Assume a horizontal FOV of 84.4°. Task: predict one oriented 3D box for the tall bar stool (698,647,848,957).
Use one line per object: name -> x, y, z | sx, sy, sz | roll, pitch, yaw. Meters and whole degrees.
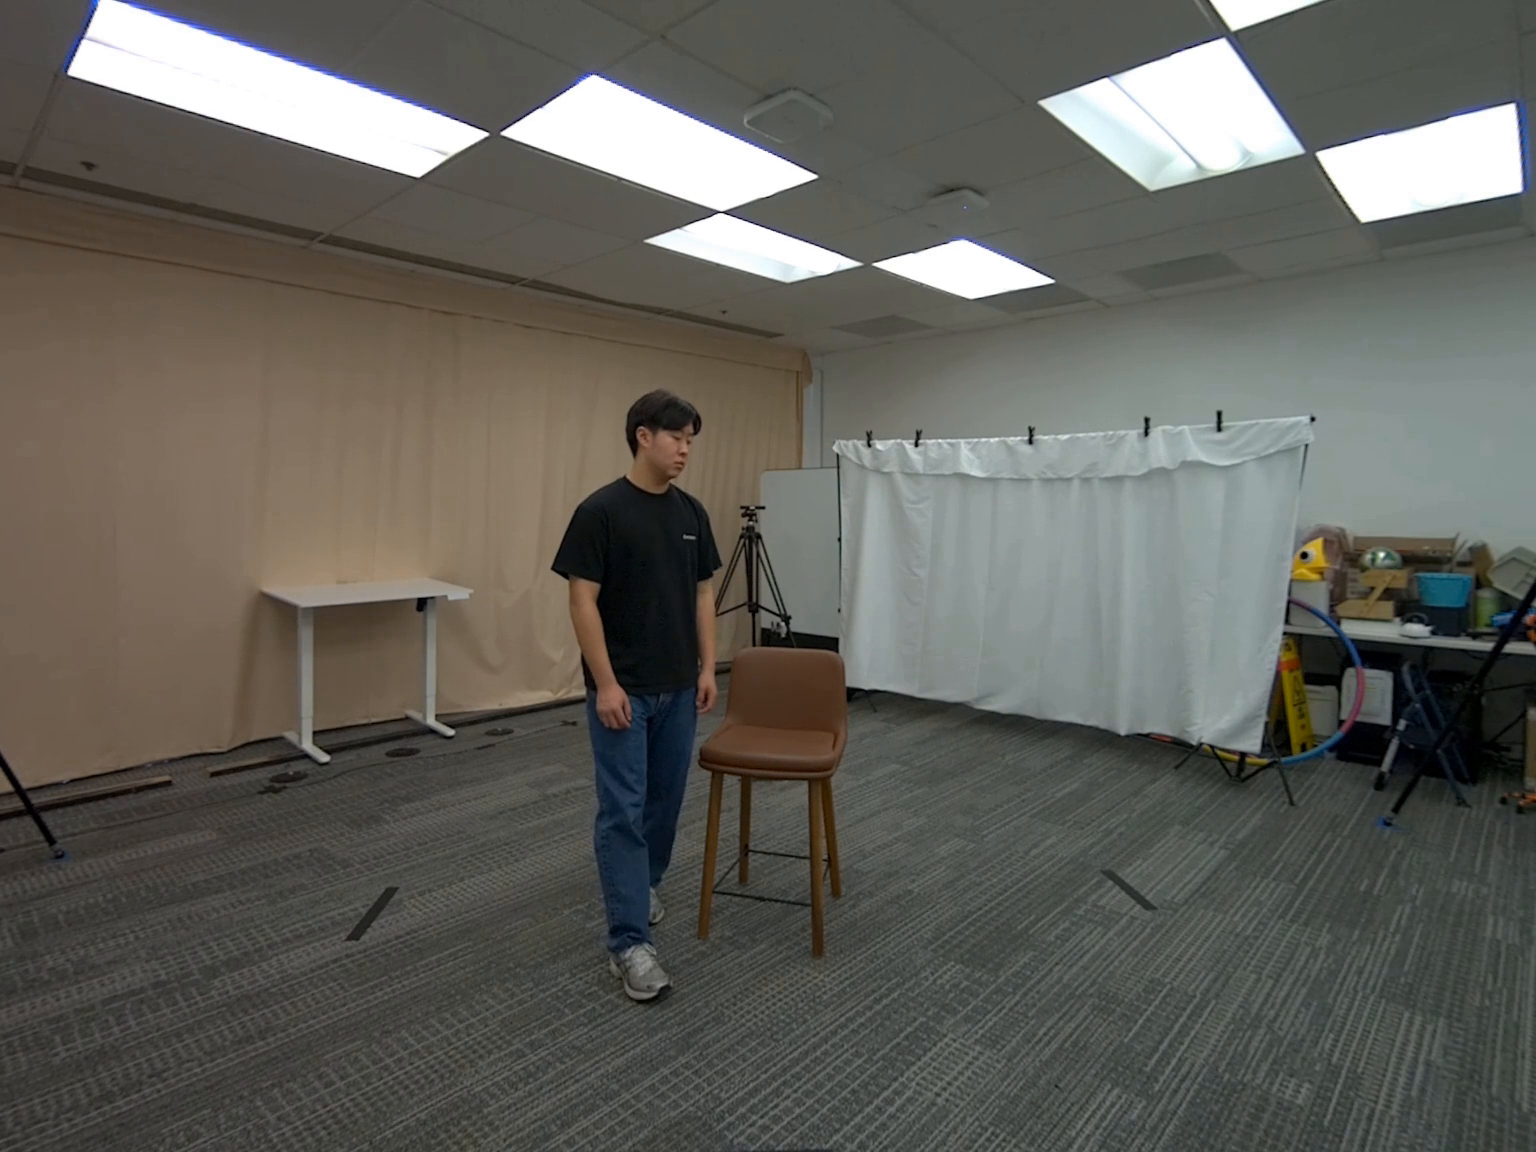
tall bar stool -> 0.031, 0.723, 2.842 | 0.465, 0.888, 0.459 | 2, 2, 17
